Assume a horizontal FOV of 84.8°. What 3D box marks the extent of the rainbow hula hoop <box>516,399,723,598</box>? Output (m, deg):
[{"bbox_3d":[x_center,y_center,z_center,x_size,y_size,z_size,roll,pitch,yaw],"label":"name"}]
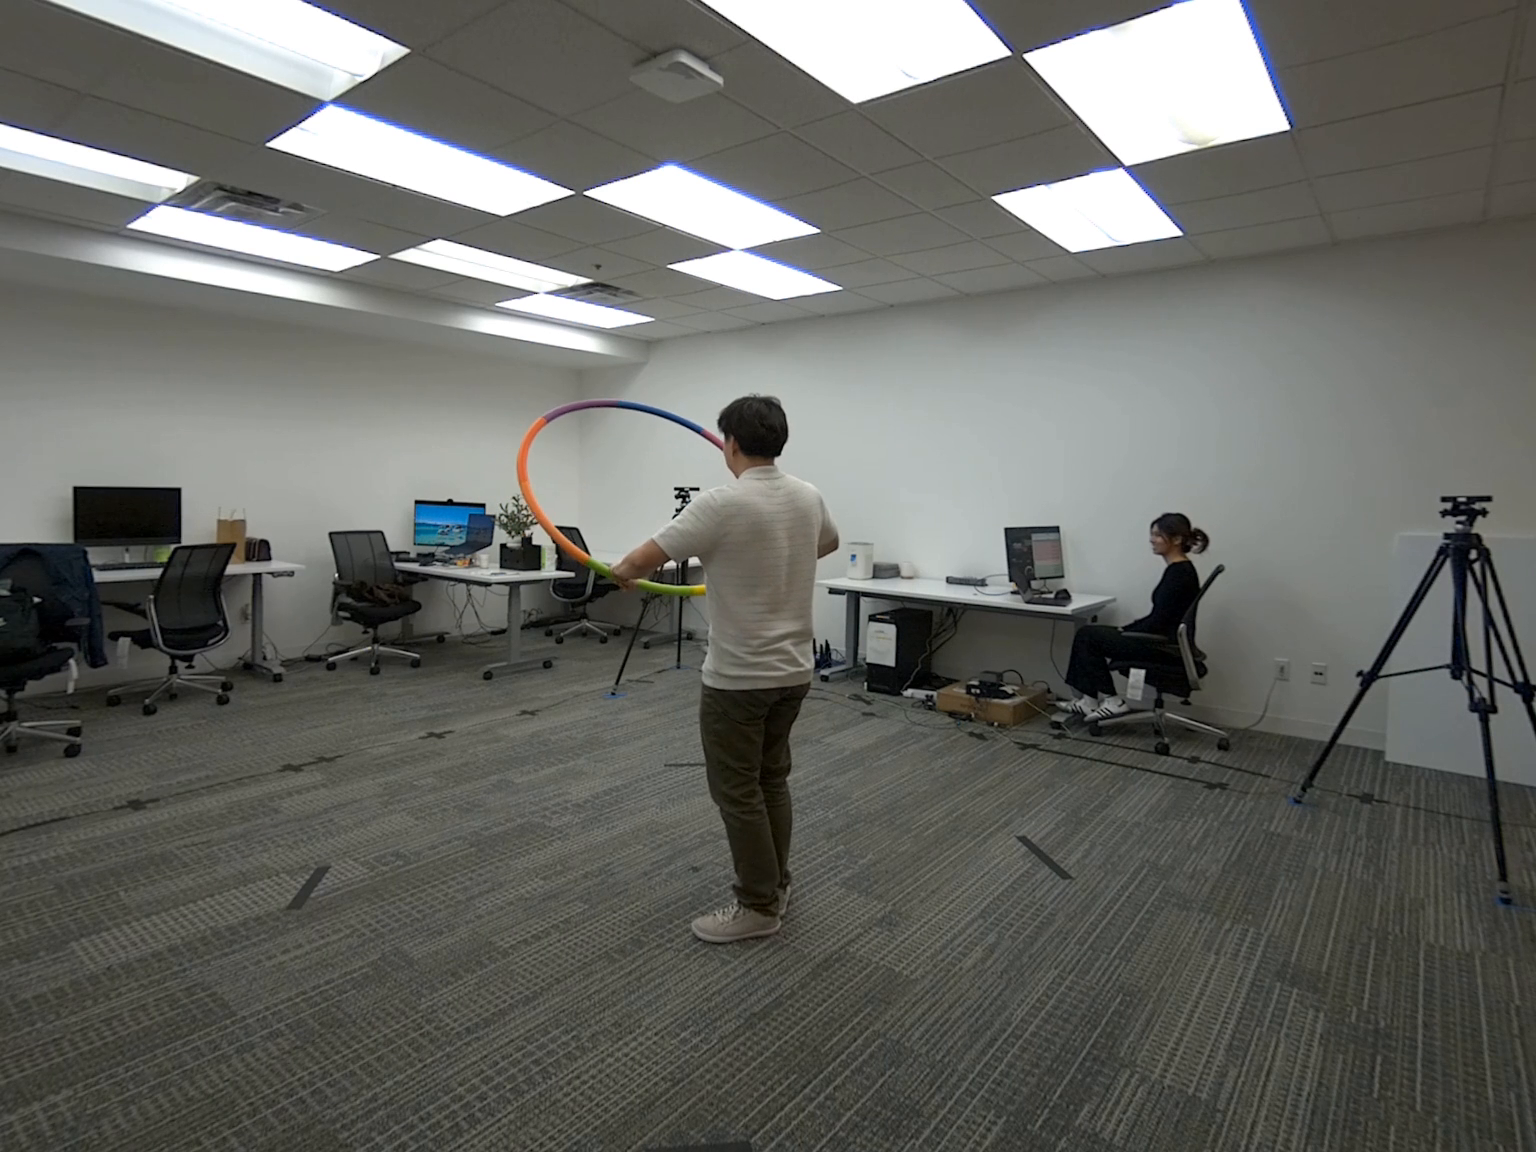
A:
[{"bbox_3d":[-0.437,-0.320,3.130,0.952,1.015,0.035,-3,-40,-32],"label":"rainbow hula hoop"}]
